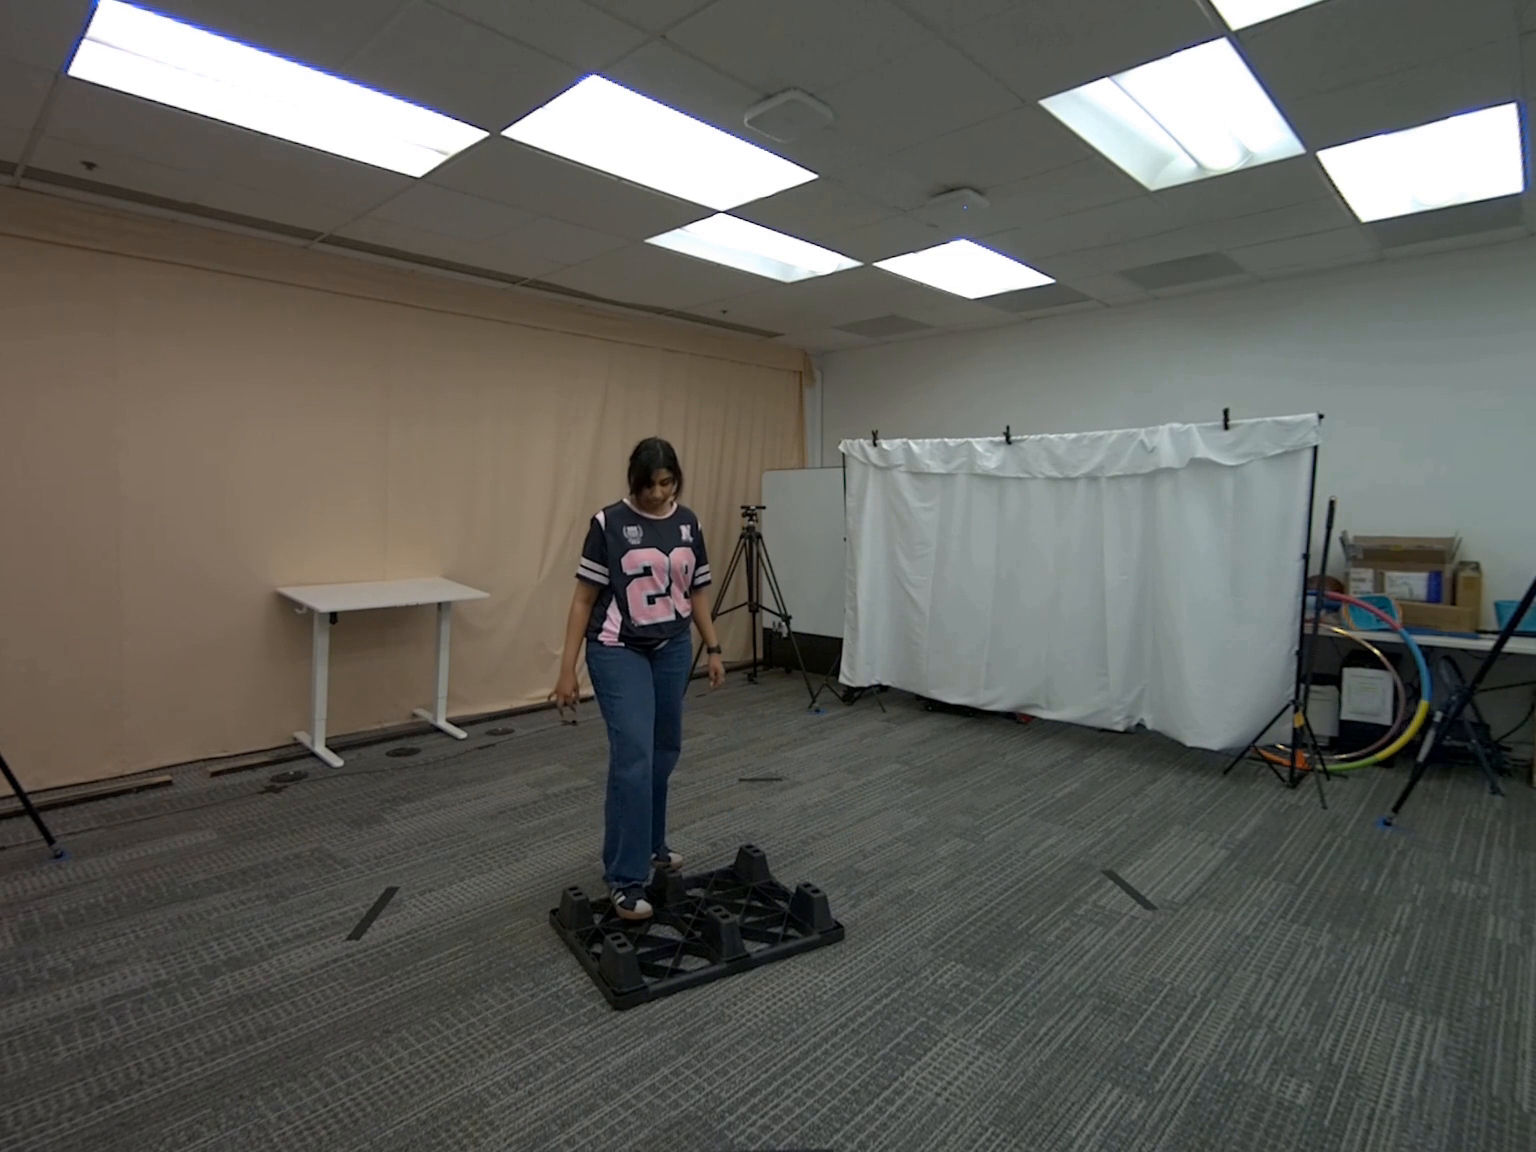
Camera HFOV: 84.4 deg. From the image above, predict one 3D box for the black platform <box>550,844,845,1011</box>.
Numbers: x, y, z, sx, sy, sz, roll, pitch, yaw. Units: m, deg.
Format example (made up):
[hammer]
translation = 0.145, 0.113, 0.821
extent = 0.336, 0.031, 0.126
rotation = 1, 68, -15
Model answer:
[black platform]
translation = -0.238, 1.097, 2.767
extent = 0.784, 0.143, 0.623
rotation = -3, 6, -31
